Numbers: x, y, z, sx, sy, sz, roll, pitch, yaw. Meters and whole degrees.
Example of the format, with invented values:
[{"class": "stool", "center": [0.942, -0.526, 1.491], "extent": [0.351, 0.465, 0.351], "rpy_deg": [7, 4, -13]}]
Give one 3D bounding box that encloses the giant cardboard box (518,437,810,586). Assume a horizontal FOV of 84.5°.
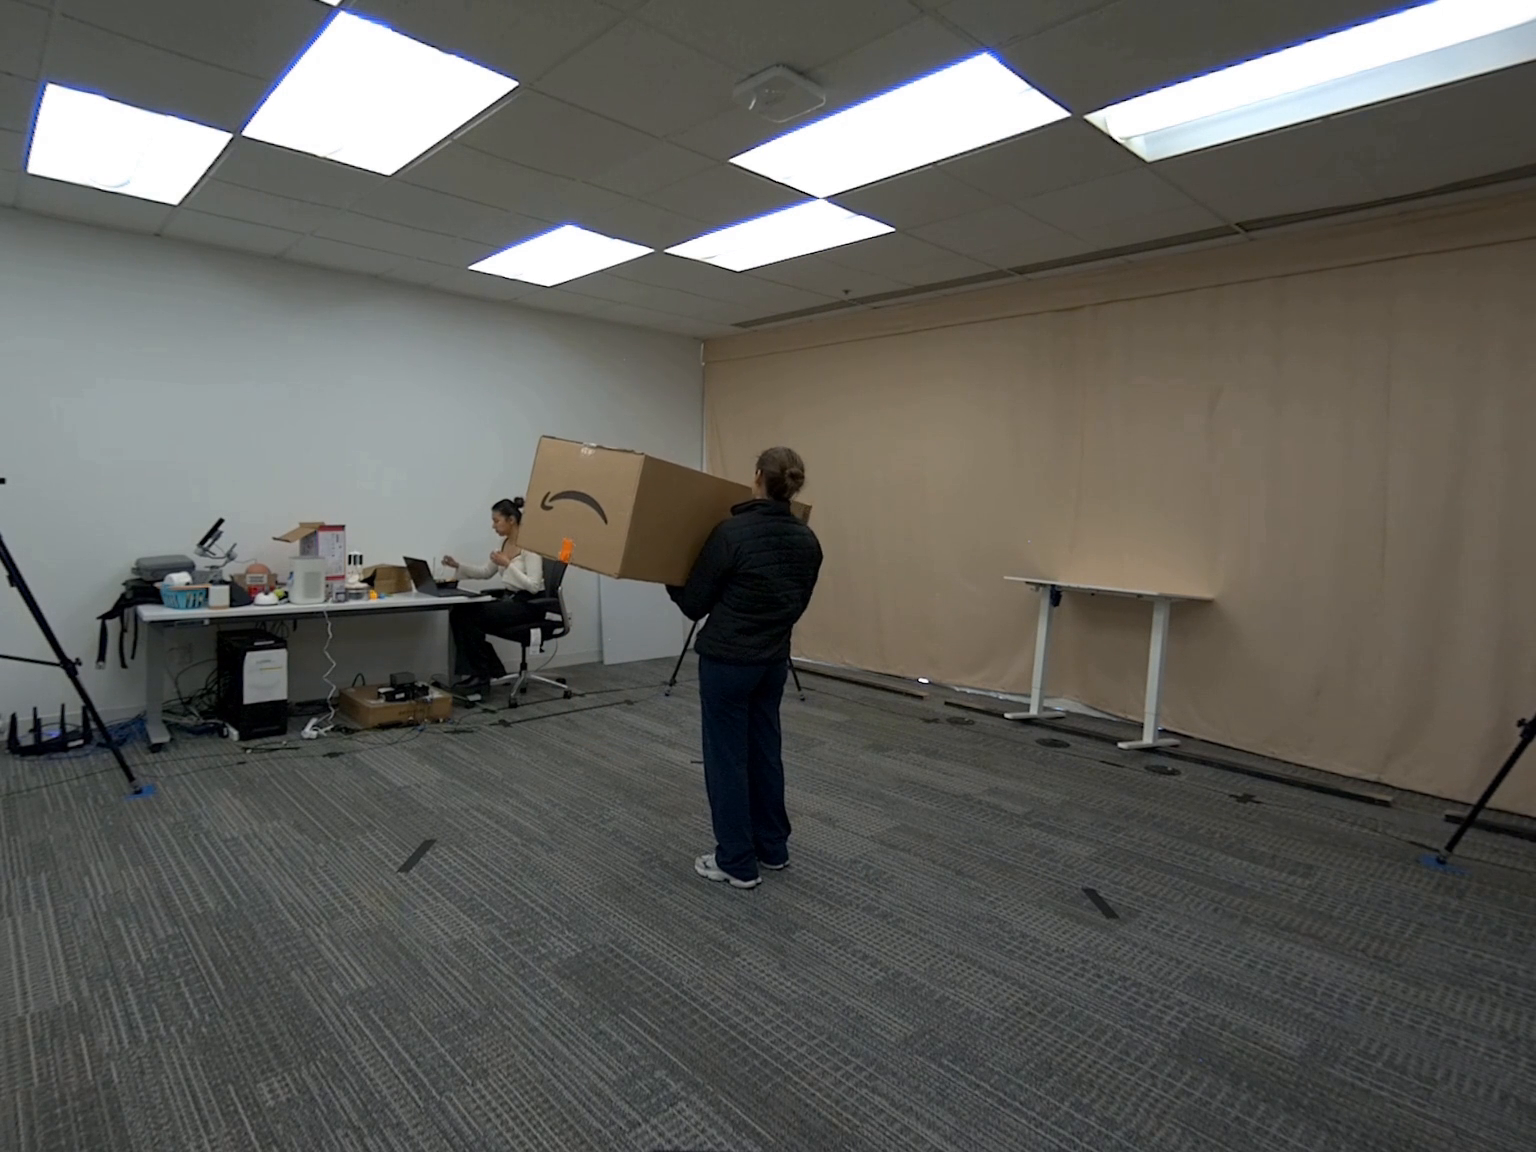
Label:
[{"class": "giant cardboard box", "center": [-0.377, -0.199, 3.318], "extent": [0.593, 0.426, 0.998], "rpy_deg": [14, 3, 37]}]
